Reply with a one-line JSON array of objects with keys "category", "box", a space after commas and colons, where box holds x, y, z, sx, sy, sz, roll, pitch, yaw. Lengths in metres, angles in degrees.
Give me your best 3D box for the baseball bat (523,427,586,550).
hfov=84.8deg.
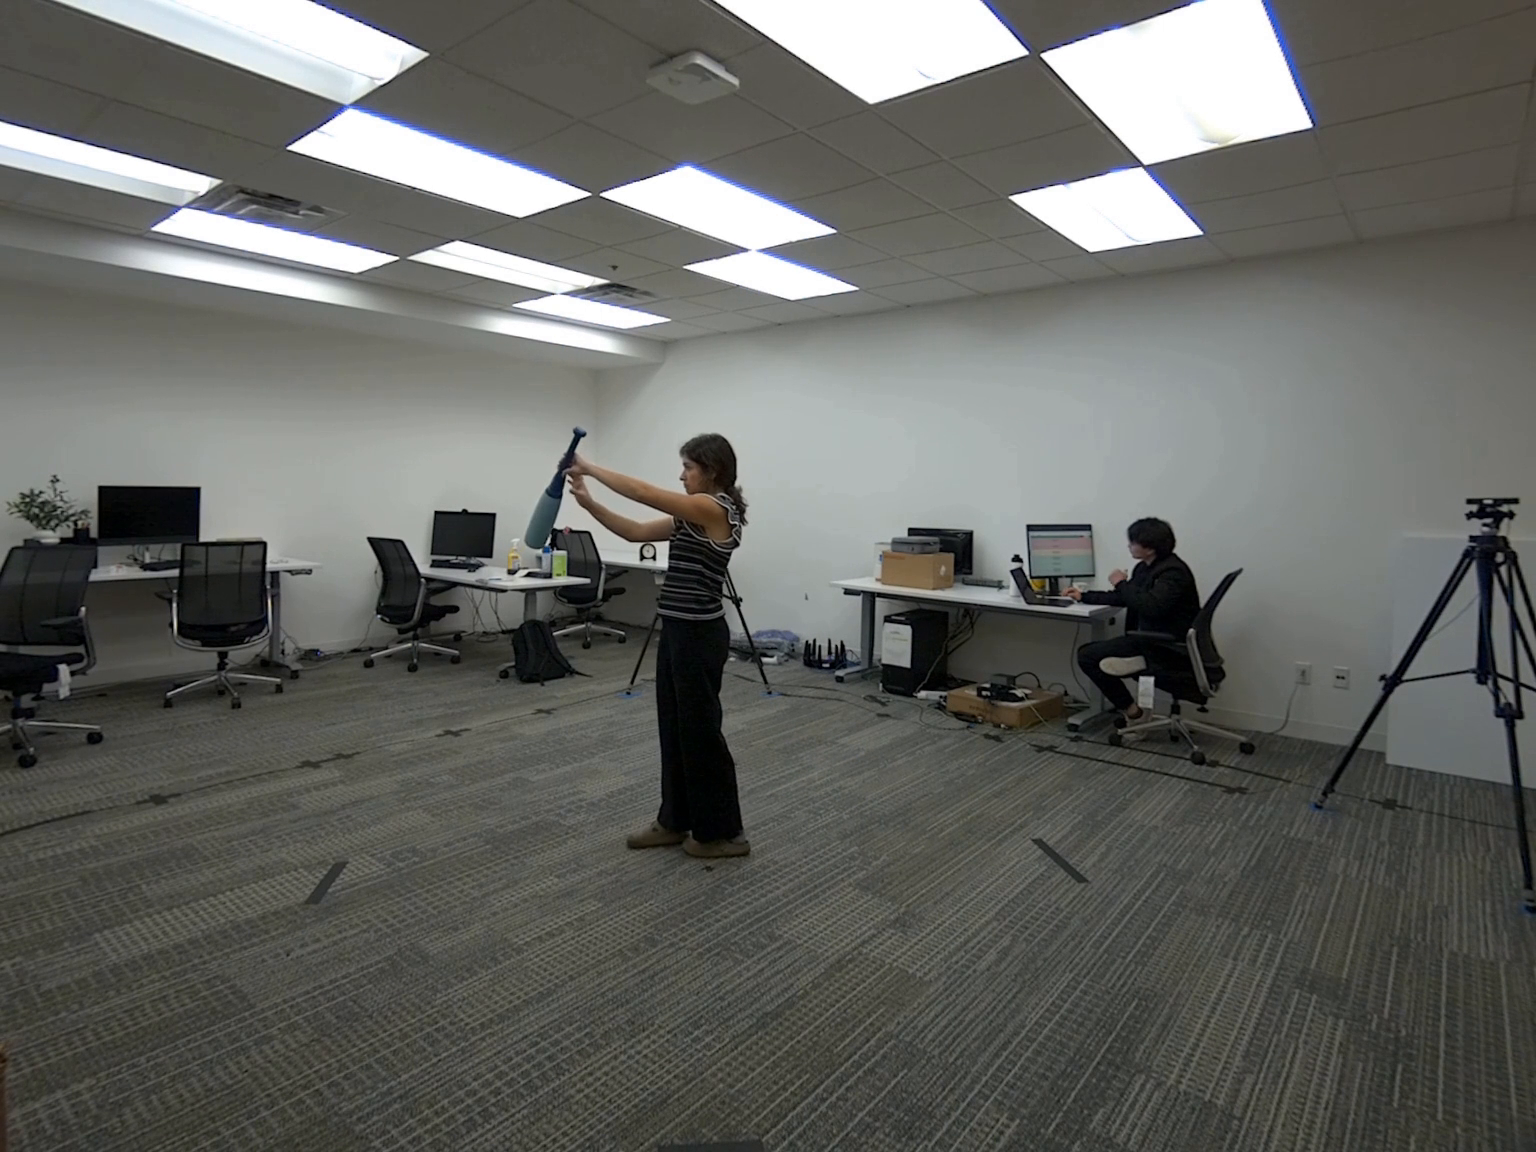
[{"category": "baseball bat", "box": [-0.801, -0.331, 3.184, 0.087, 0.539, 0.091, 22, 30, -16]}]
